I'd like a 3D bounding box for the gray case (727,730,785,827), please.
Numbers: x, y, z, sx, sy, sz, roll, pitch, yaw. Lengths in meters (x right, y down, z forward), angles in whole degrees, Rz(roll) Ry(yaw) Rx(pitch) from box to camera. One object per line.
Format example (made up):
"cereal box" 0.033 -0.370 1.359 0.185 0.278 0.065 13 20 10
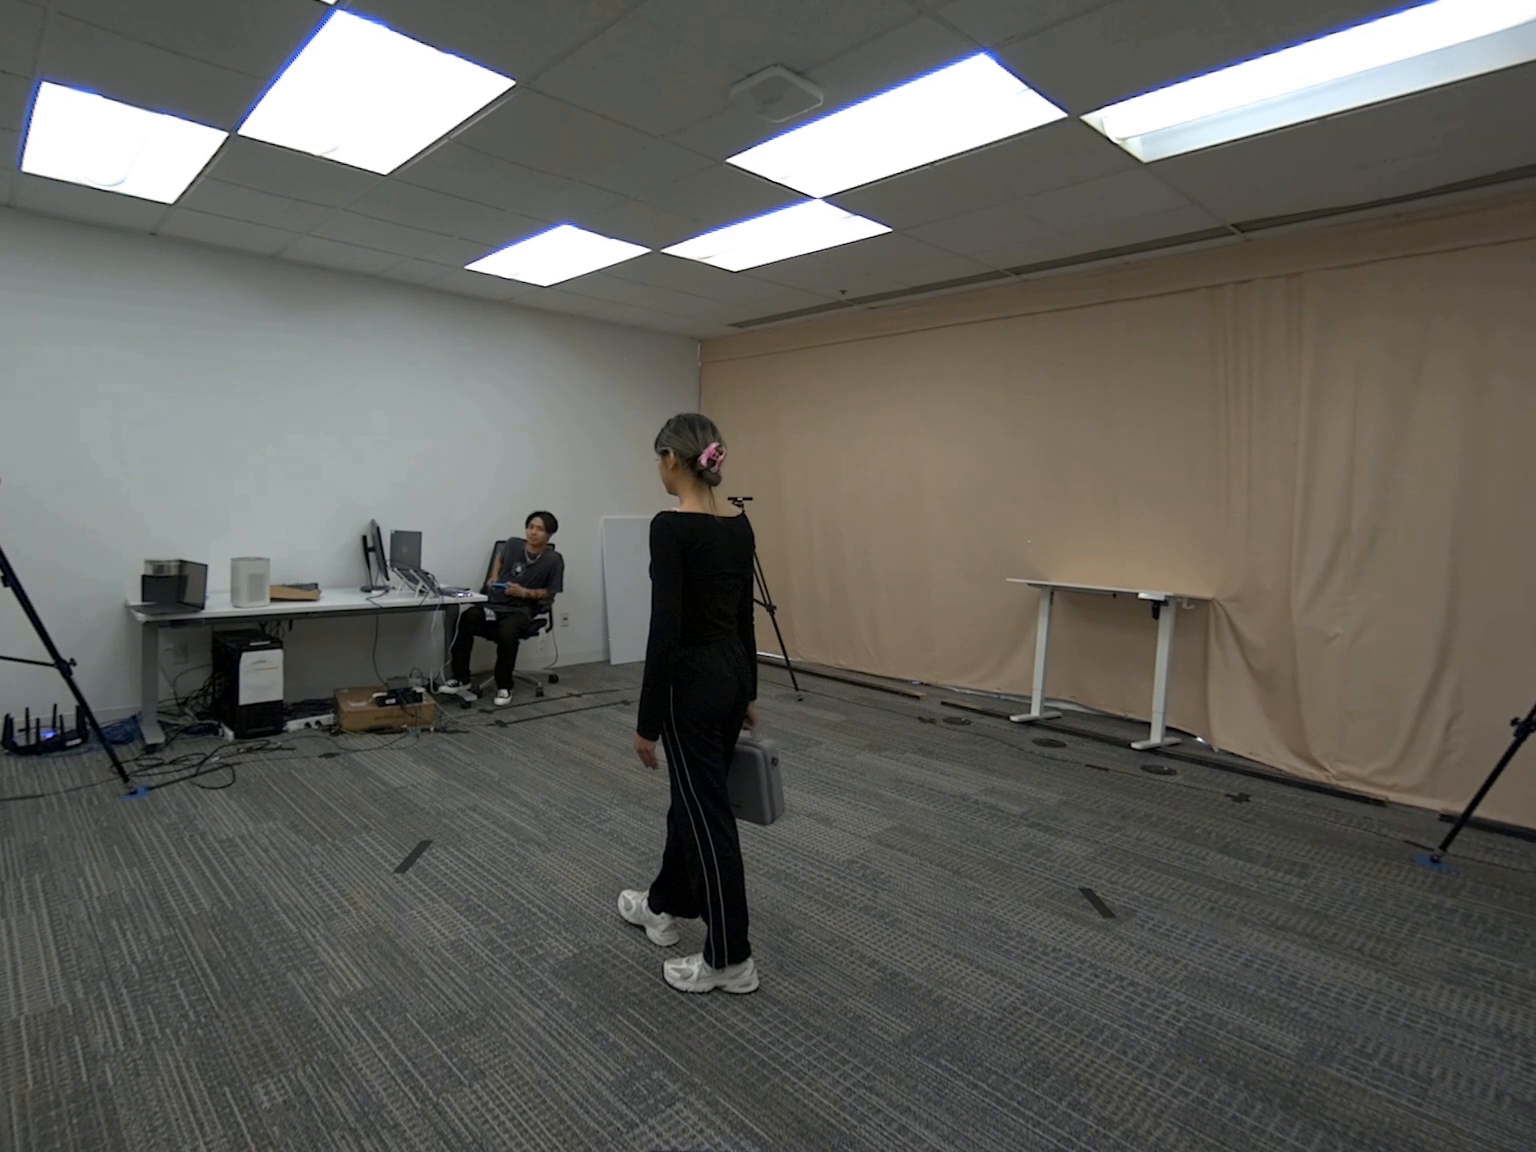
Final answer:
"gray case" -0.093 0.628 2.637 0.263 0.259 0.102 1 9 41
